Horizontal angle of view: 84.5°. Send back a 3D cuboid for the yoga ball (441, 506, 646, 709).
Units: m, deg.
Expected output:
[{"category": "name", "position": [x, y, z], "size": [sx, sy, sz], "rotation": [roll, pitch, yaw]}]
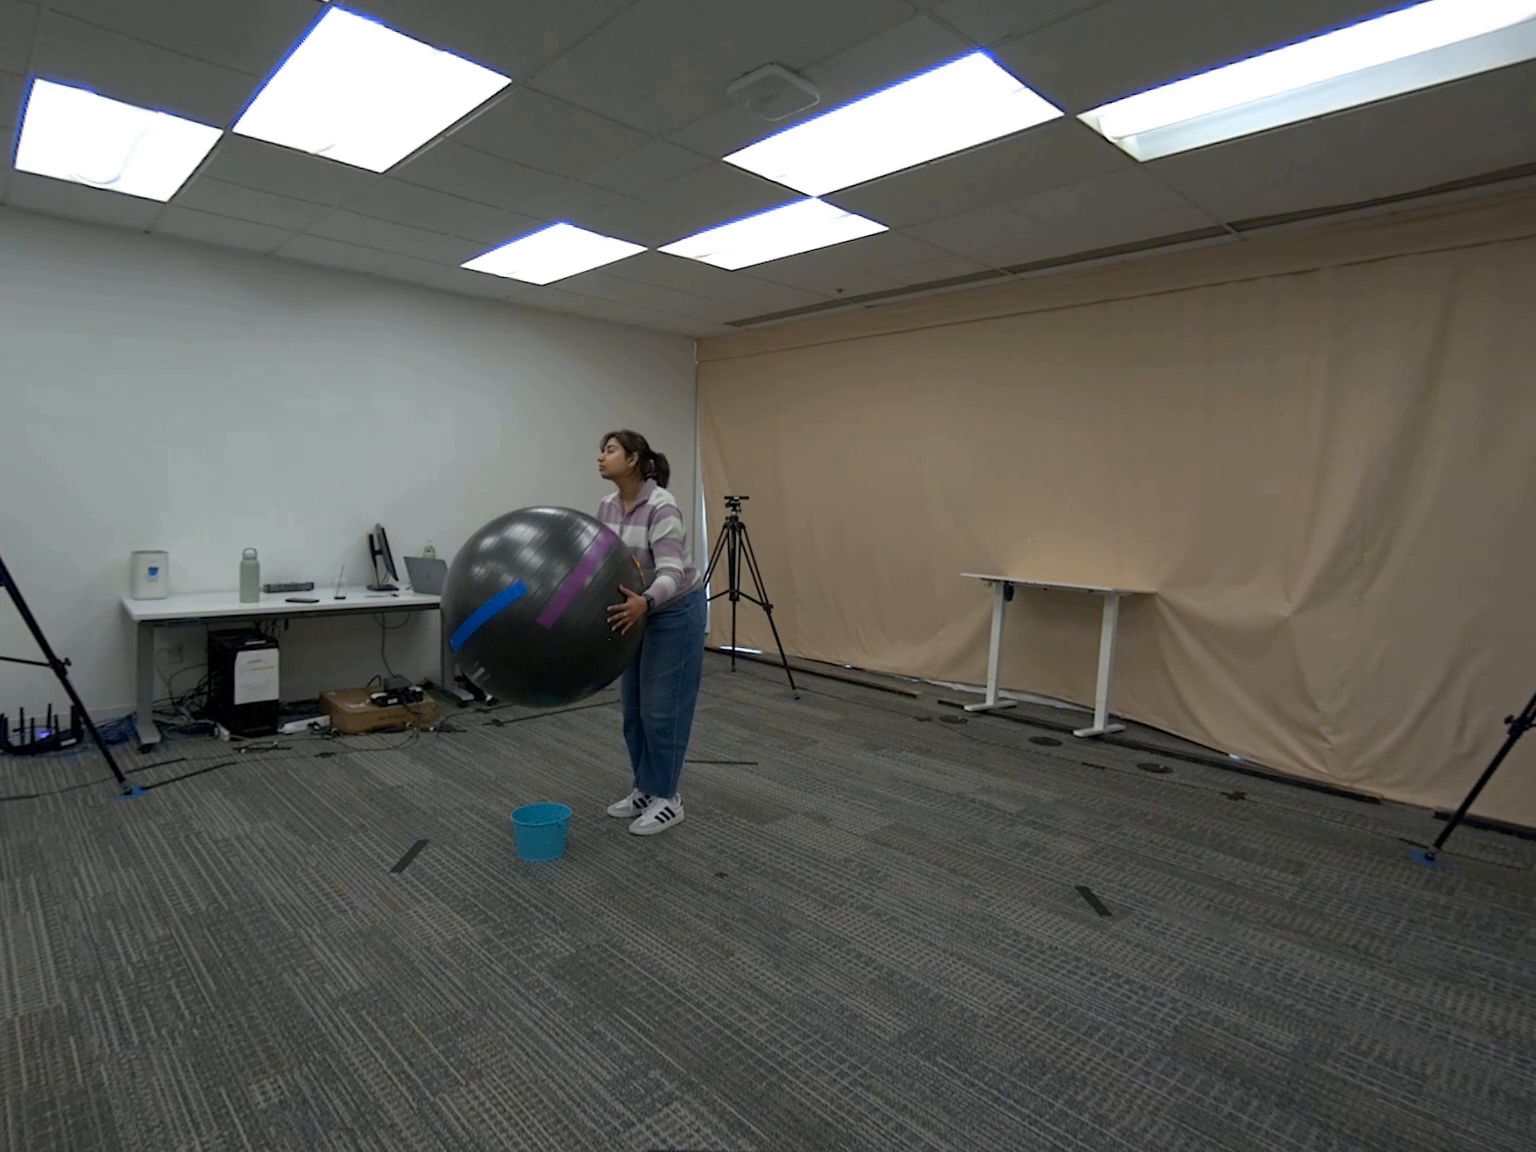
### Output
[{"category": "yoga ball", "position": [-0.869, 0.128, 3.175], "size": [0.757, 0.756, 0.761], "rotation": [1, 4, -1]}]
